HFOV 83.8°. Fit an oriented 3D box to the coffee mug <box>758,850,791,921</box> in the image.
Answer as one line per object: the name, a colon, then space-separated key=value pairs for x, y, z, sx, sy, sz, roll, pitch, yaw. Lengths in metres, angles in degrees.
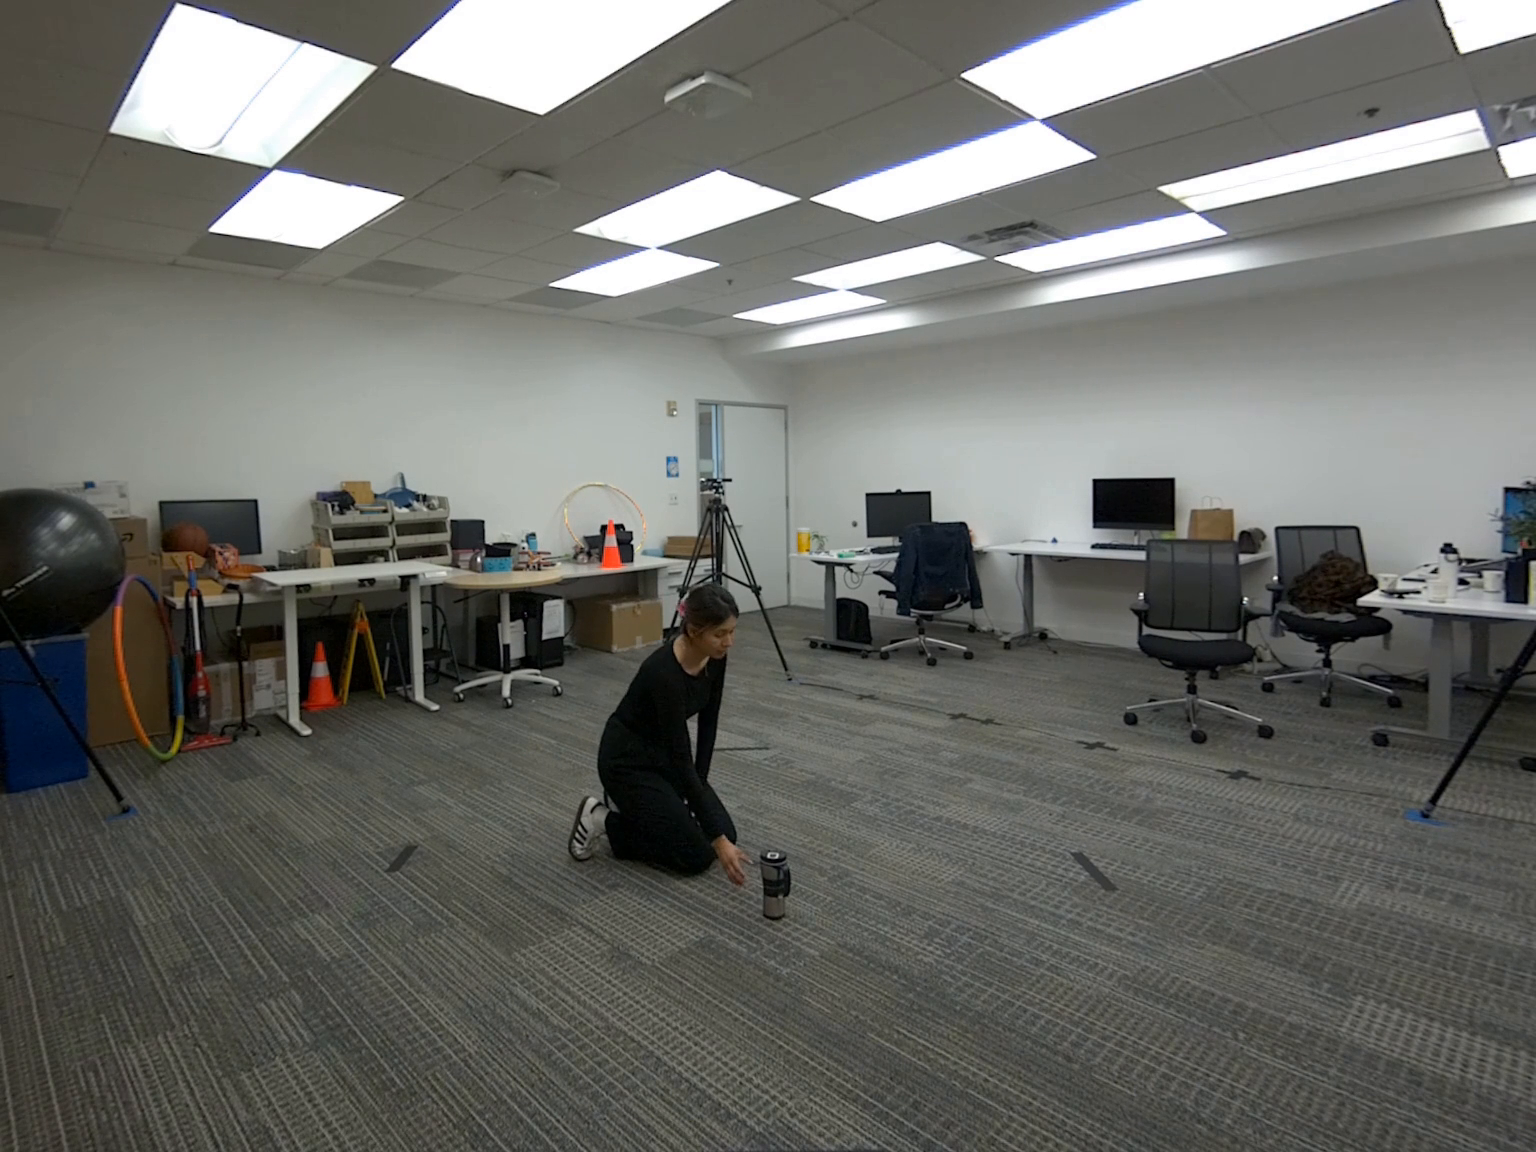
coffee mug: x=0.026 y=0.991 z=2.705 sx=0.087 sy=0.203 sz=0.123 roll=0 pitch=2 yaw=-5
